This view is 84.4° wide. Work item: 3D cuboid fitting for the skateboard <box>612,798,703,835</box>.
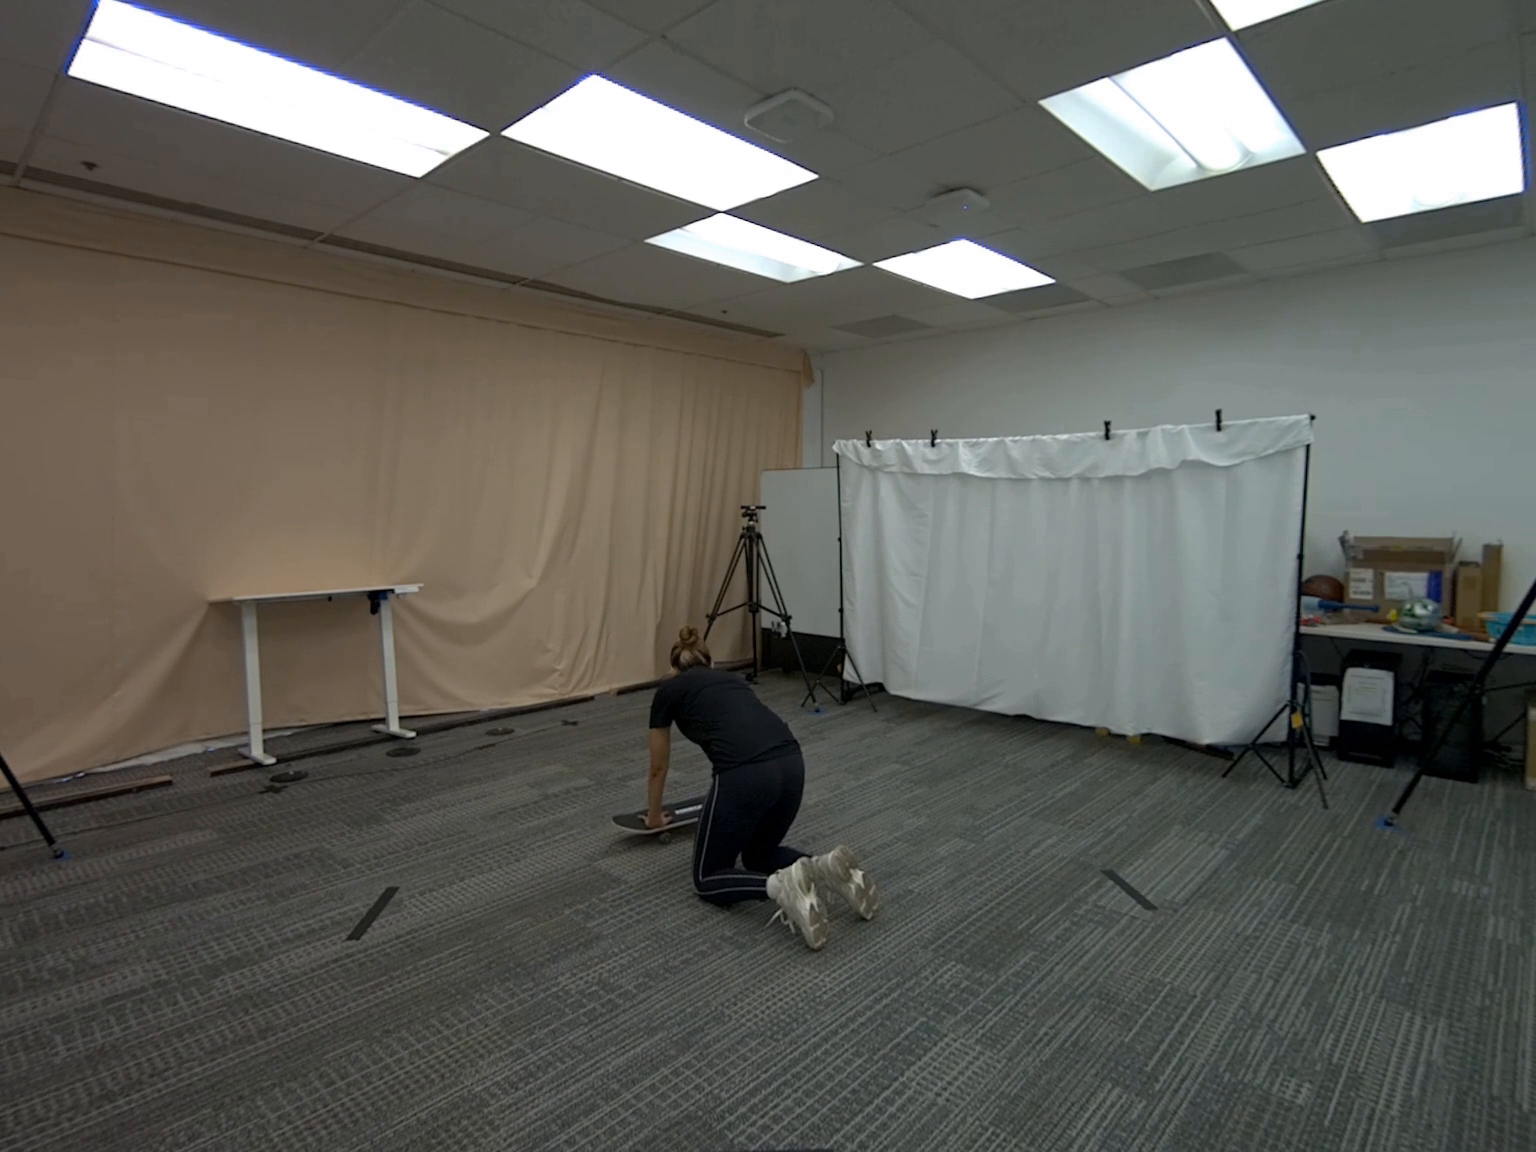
[{"bbox_3d":[-0.306,1.032,3.639,0.764,0.110,0.199,-4,7,-32],"label":"skateboard"}]
